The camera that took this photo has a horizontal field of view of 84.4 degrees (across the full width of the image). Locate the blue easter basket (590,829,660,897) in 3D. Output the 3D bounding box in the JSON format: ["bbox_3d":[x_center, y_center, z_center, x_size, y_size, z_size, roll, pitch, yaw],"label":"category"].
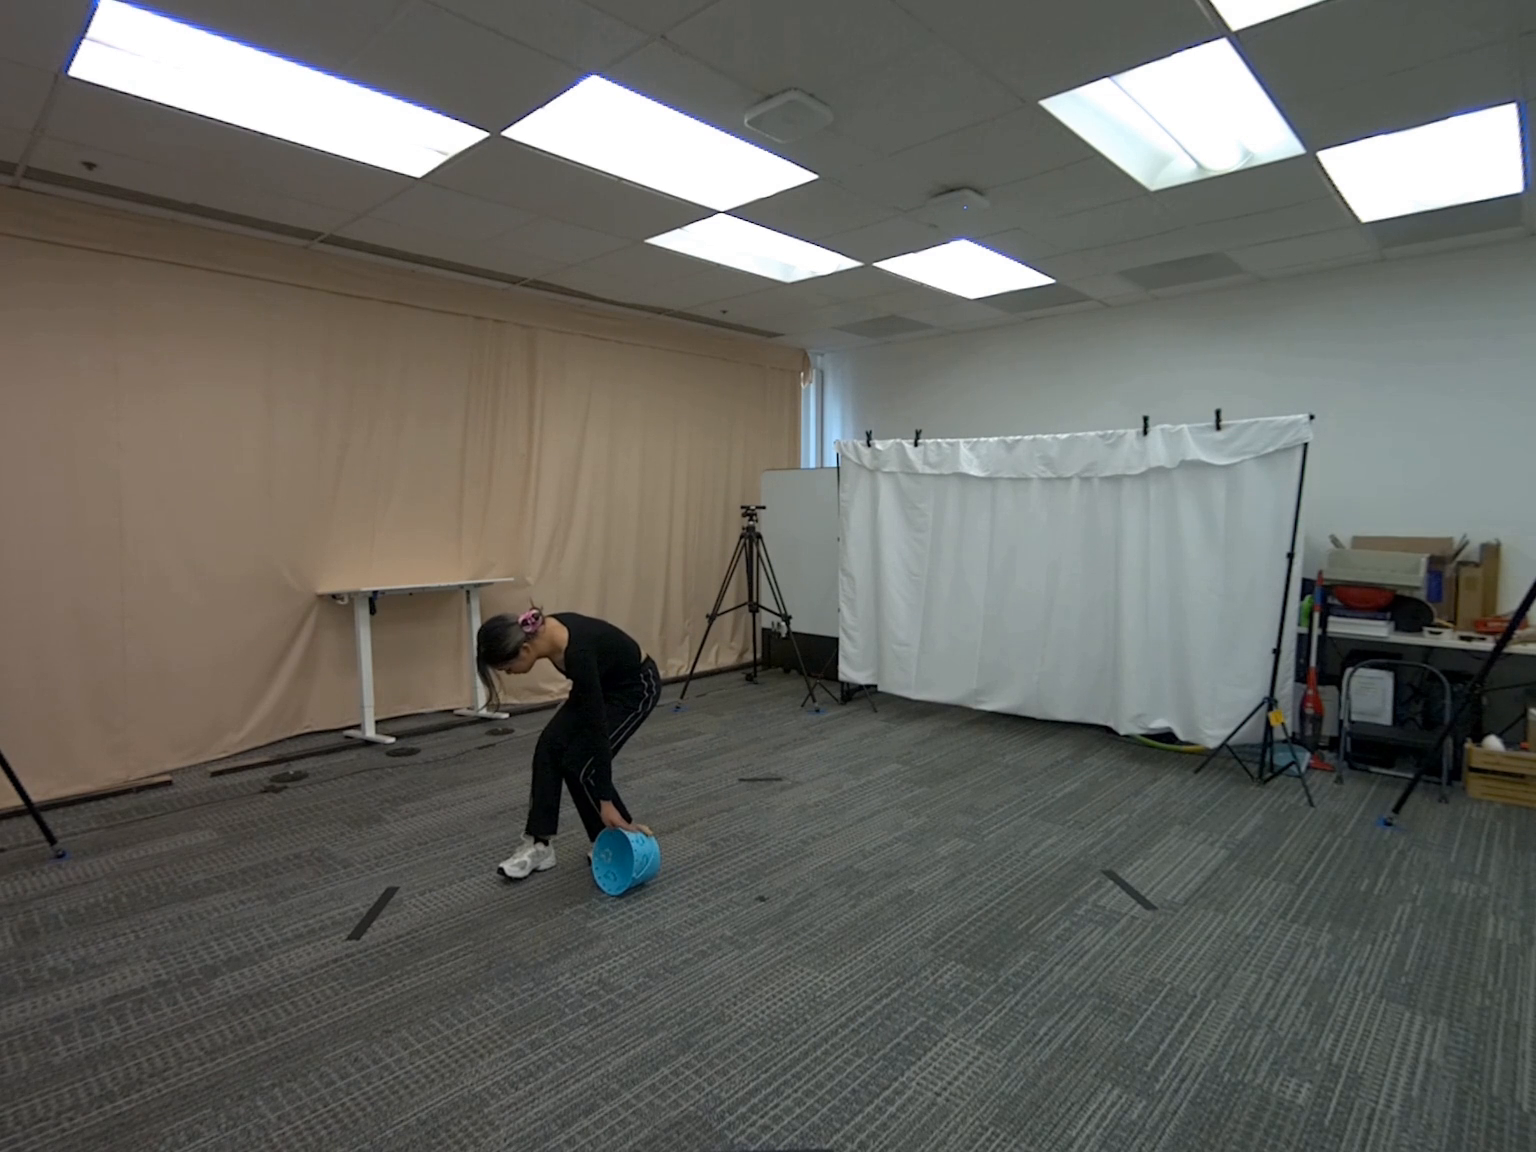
[{"bbox_3d":[-0.507,1.032,3.084,0.251,0.244,0.150,3,-5,40],"label":"blue easter basket"}]
